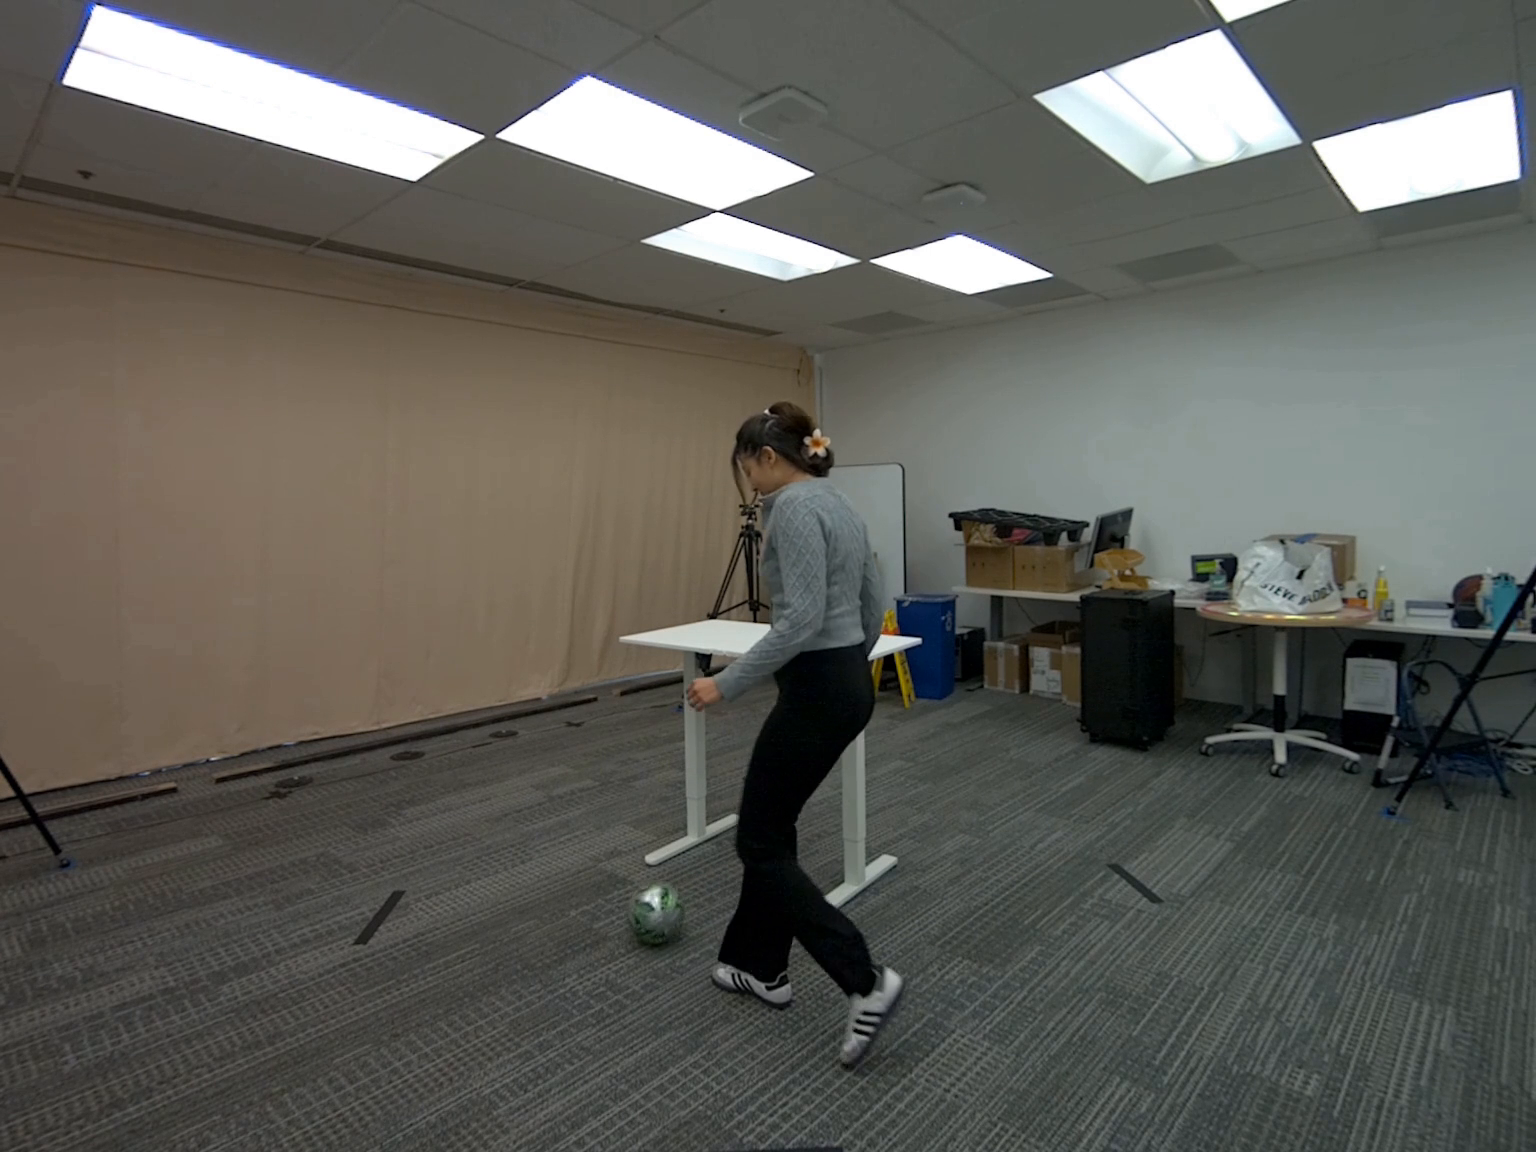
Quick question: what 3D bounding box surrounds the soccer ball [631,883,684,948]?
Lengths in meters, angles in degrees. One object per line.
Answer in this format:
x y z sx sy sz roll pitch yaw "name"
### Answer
-0.359 1.072 2.701 0.187 0.187 0.188 -1 4 -2 "soccer ball"
